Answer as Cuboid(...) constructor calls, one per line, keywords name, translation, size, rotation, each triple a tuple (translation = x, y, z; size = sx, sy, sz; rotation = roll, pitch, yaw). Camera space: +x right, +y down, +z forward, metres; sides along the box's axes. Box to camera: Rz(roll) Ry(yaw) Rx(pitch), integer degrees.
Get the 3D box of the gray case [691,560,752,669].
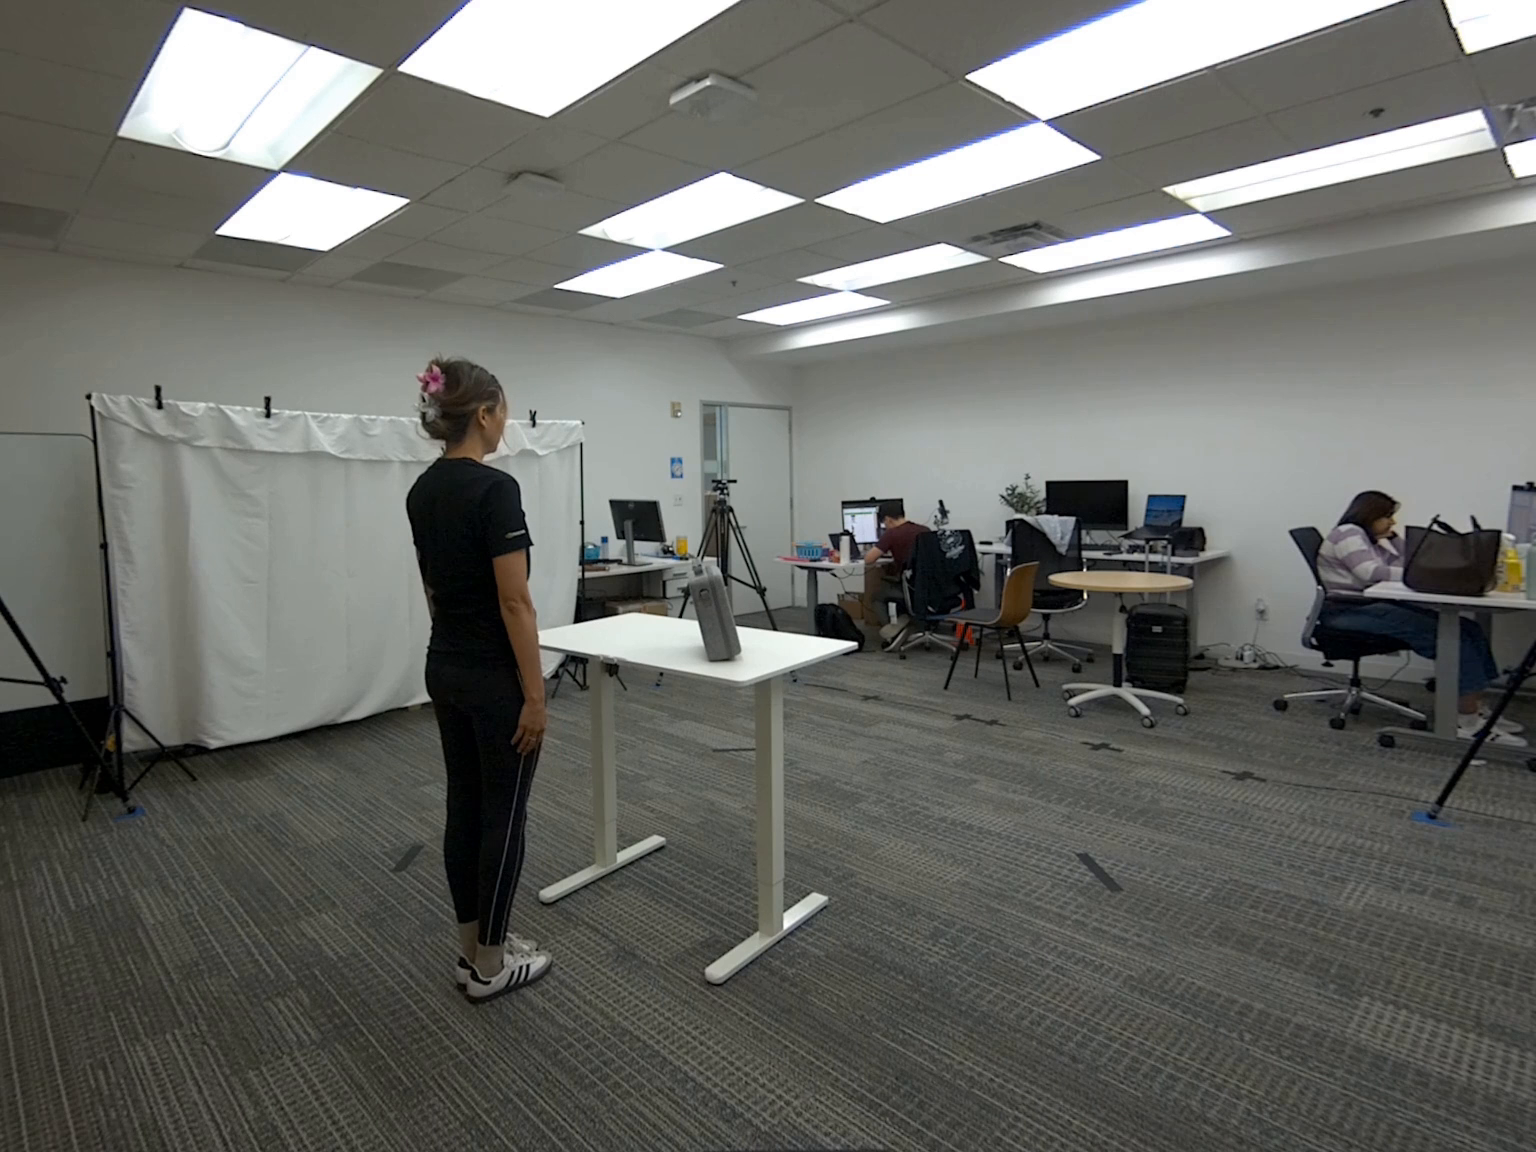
Cuboid(name="gray case", translation=(-0.143, 0.105, 2.543), size=(0.104, 0.259, 0.260), rotation=(-13, 7, -6))
